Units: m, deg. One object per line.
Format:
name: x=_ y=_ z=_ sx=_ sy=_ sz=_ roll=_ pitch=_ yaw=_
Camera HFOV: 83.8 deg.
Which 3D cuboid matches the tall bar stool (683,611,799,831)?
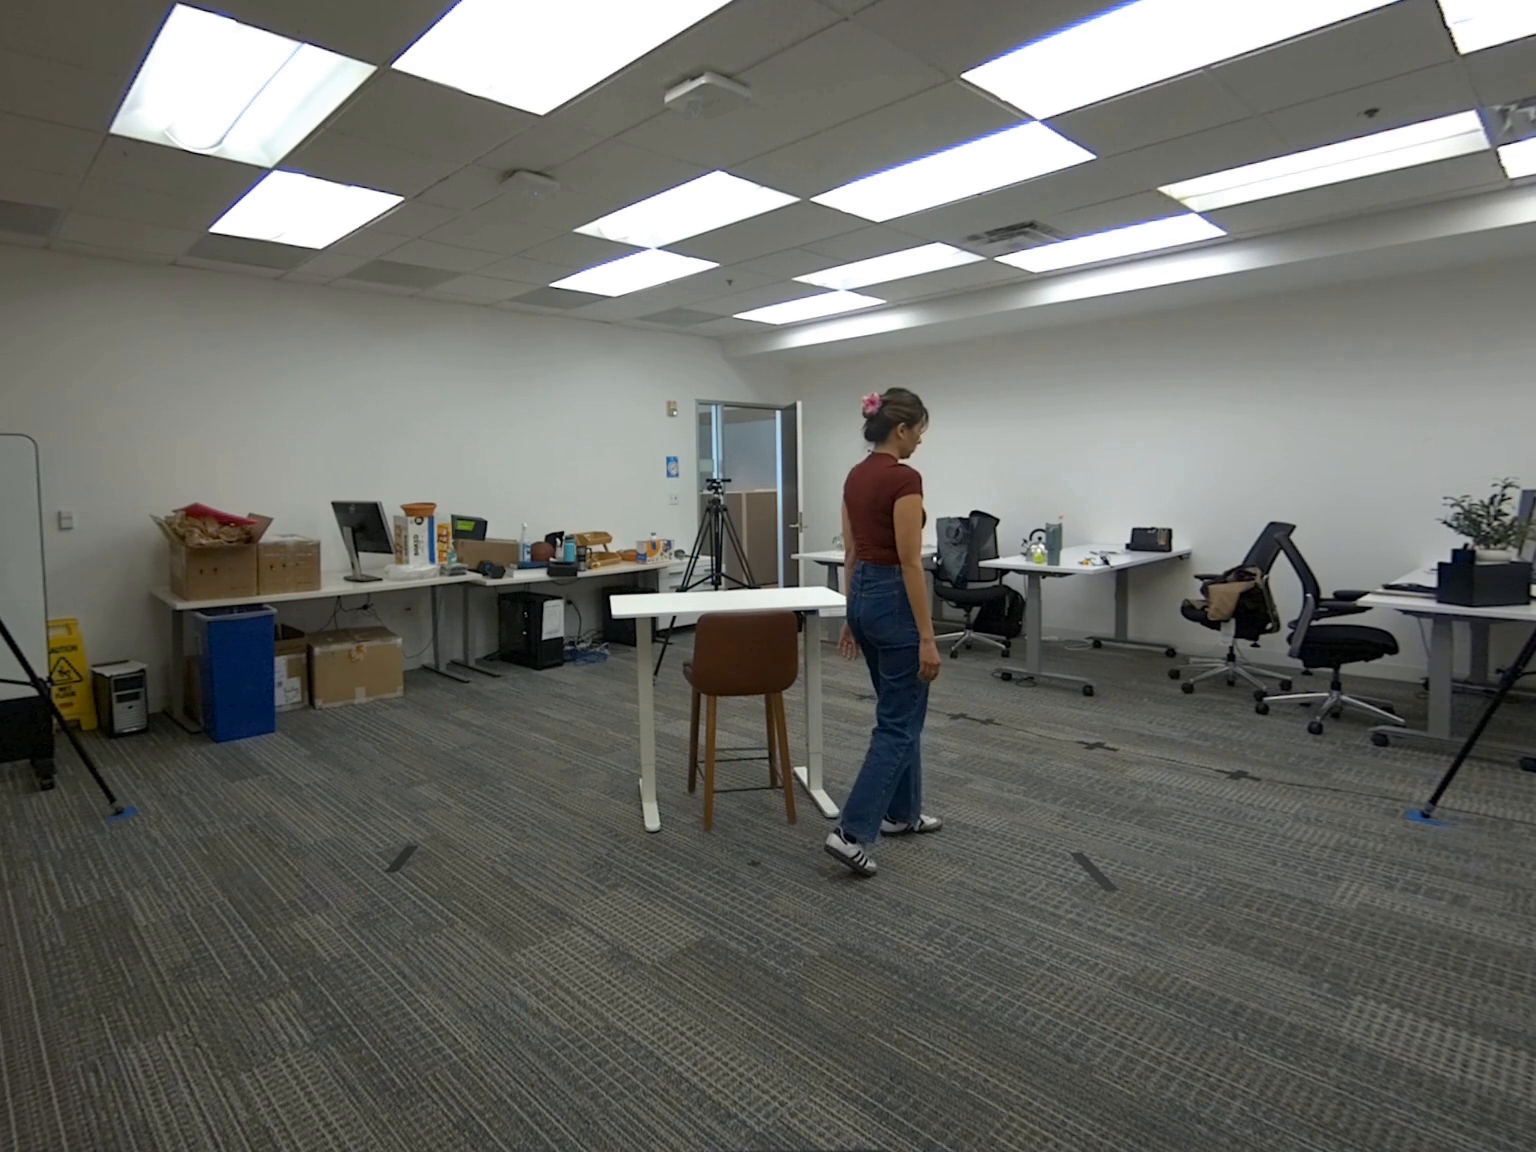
tall bar stool: x=-0.111 y=0.566 z=3.619 sx=0.453 sy=0.887 sz=0.473 roll=1 pitch=4 yaw=-9
